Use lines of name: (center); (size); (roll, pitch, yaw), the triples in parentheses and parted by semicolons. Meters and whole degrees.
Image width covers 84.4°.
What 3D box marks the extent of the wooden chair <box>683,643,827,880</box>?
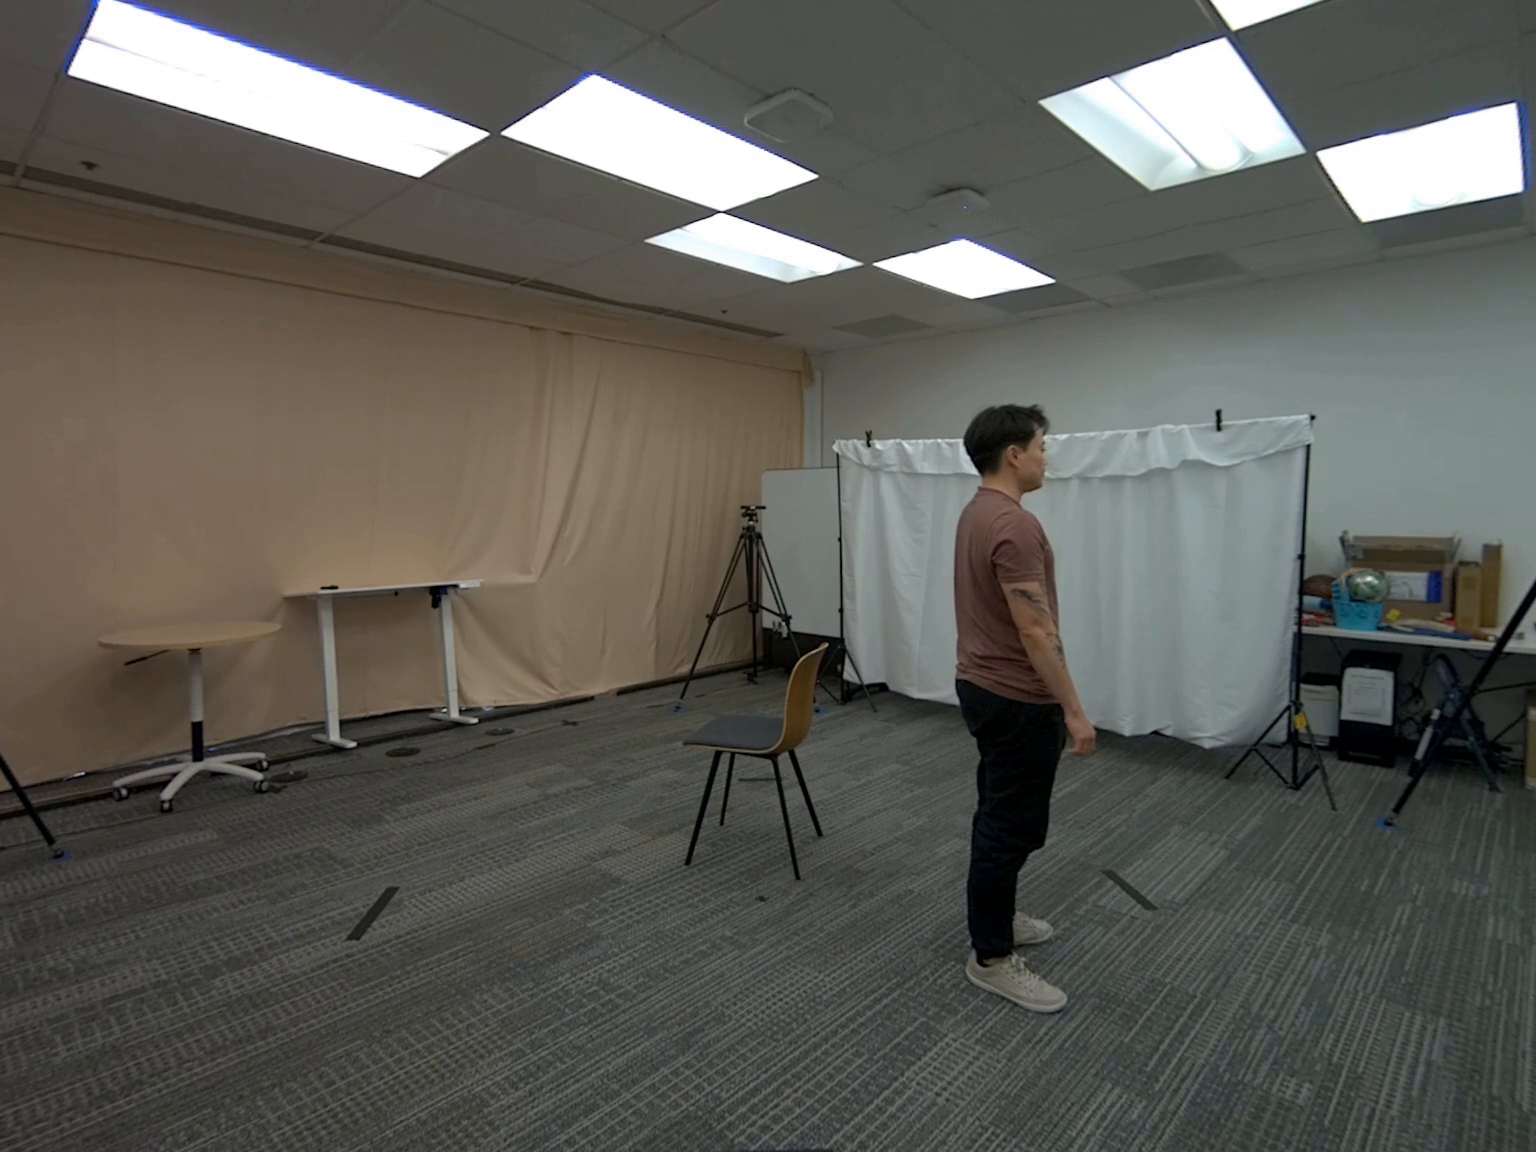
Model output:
wooden chair: (-0.056, 0.683, 3.376); (0.533, 0.875, 0.470); (5, 5, 17)
